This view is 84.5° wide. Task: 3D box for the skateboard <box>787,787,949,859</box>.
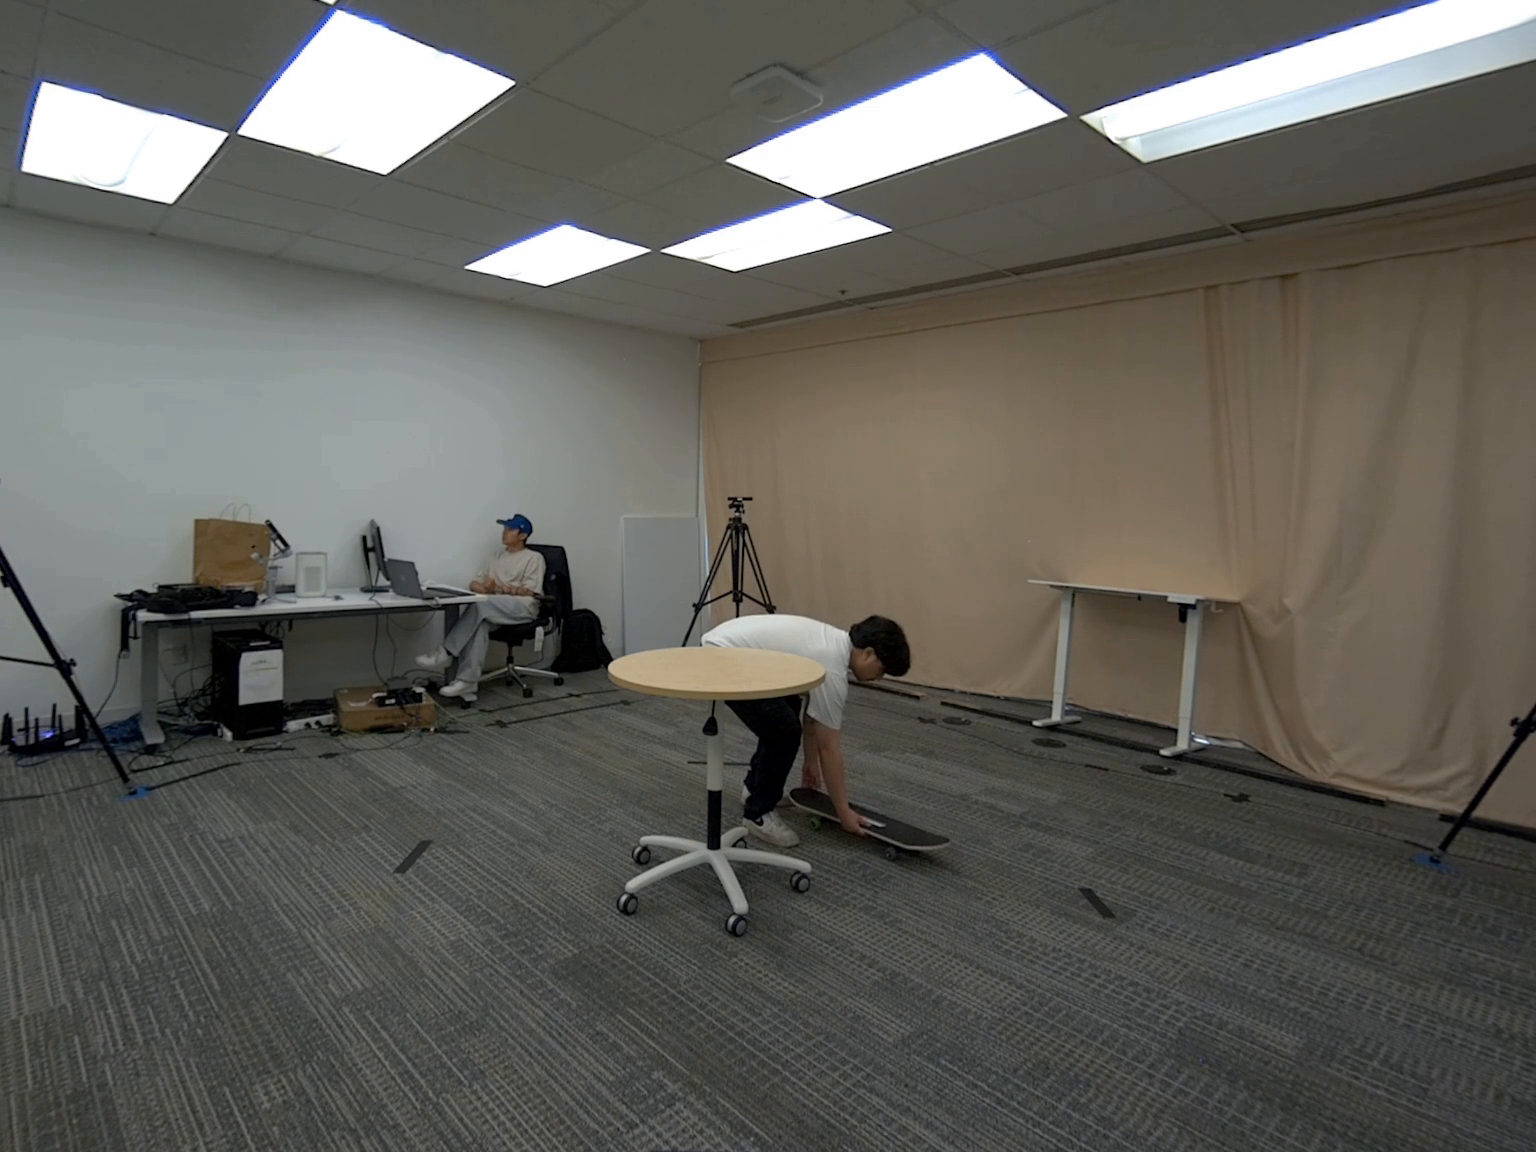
[{"bbox_3d":[0.388,1.035,3.481,0.189,0.110,0.806,-2,6,-43],"label":"skateboard"}]
